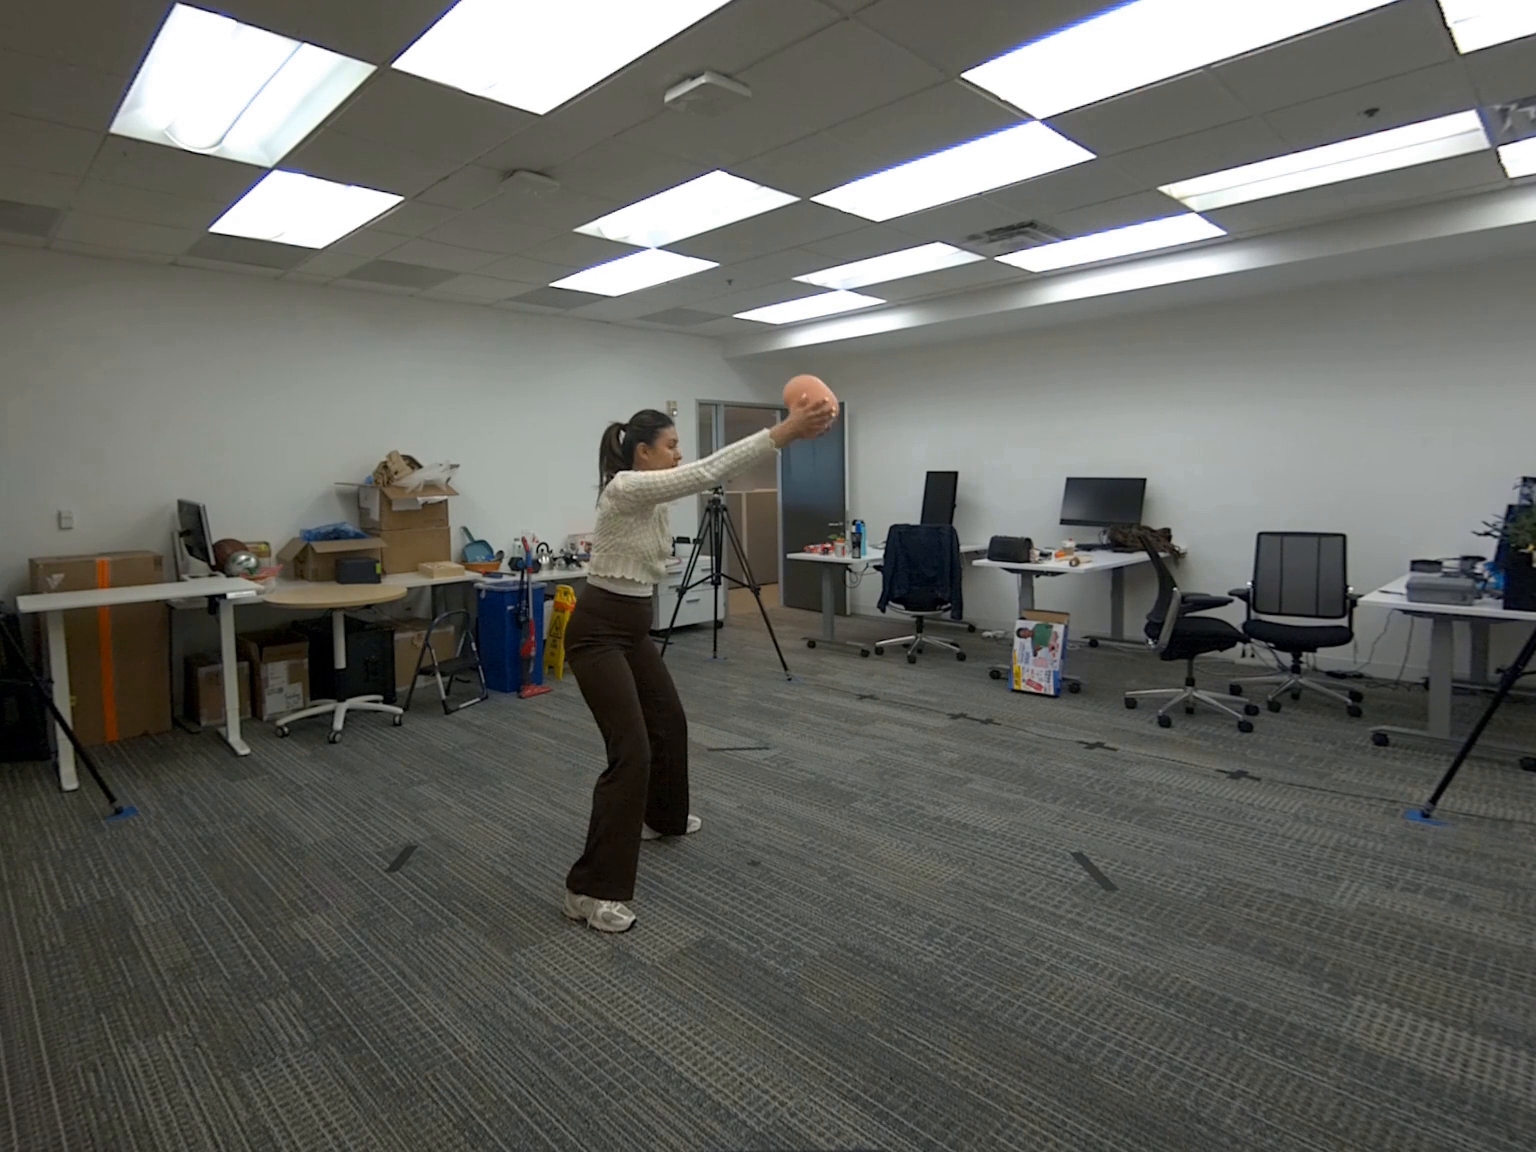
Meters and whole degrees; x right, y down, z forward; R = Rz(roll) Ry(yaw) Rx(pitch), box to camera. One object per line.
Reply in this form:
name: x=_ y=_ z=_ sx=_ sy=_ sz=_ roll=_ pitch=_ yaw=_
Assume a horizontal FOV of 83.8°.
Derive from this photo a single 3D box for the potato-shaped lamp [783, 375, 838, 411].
potato-shaped lamp: x=0.130 y=-0.570 z=2.862 sx=0.172 sy=0.198 sz=0.164 roll=-36 pitch=1 yaw=23
